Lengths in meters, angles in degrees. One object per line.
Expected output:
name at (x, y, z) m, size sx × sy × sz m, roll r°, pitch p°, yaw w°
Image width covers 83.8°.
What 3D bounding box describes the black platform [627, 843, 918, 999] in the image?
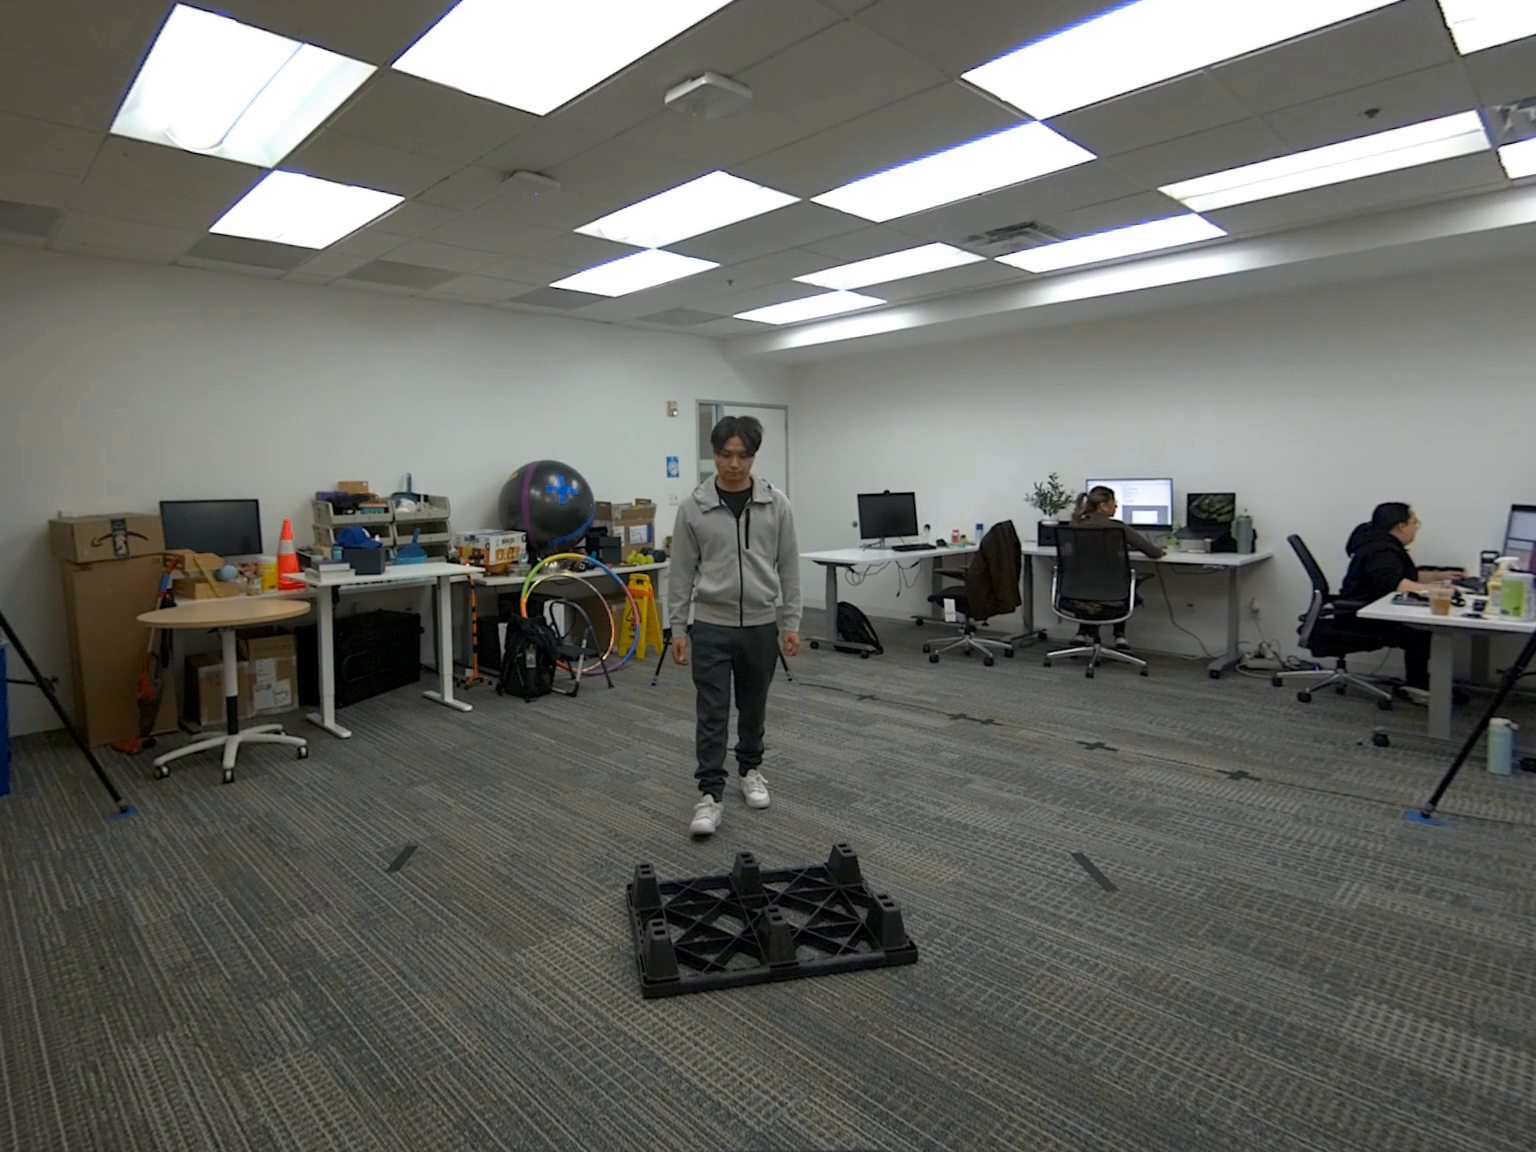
black platform at (-0.017, 1.029, 2.670) m, size 0.796 × 0.142 × 0.615 m, roll -2°, pitch 7°, yaw -13°
